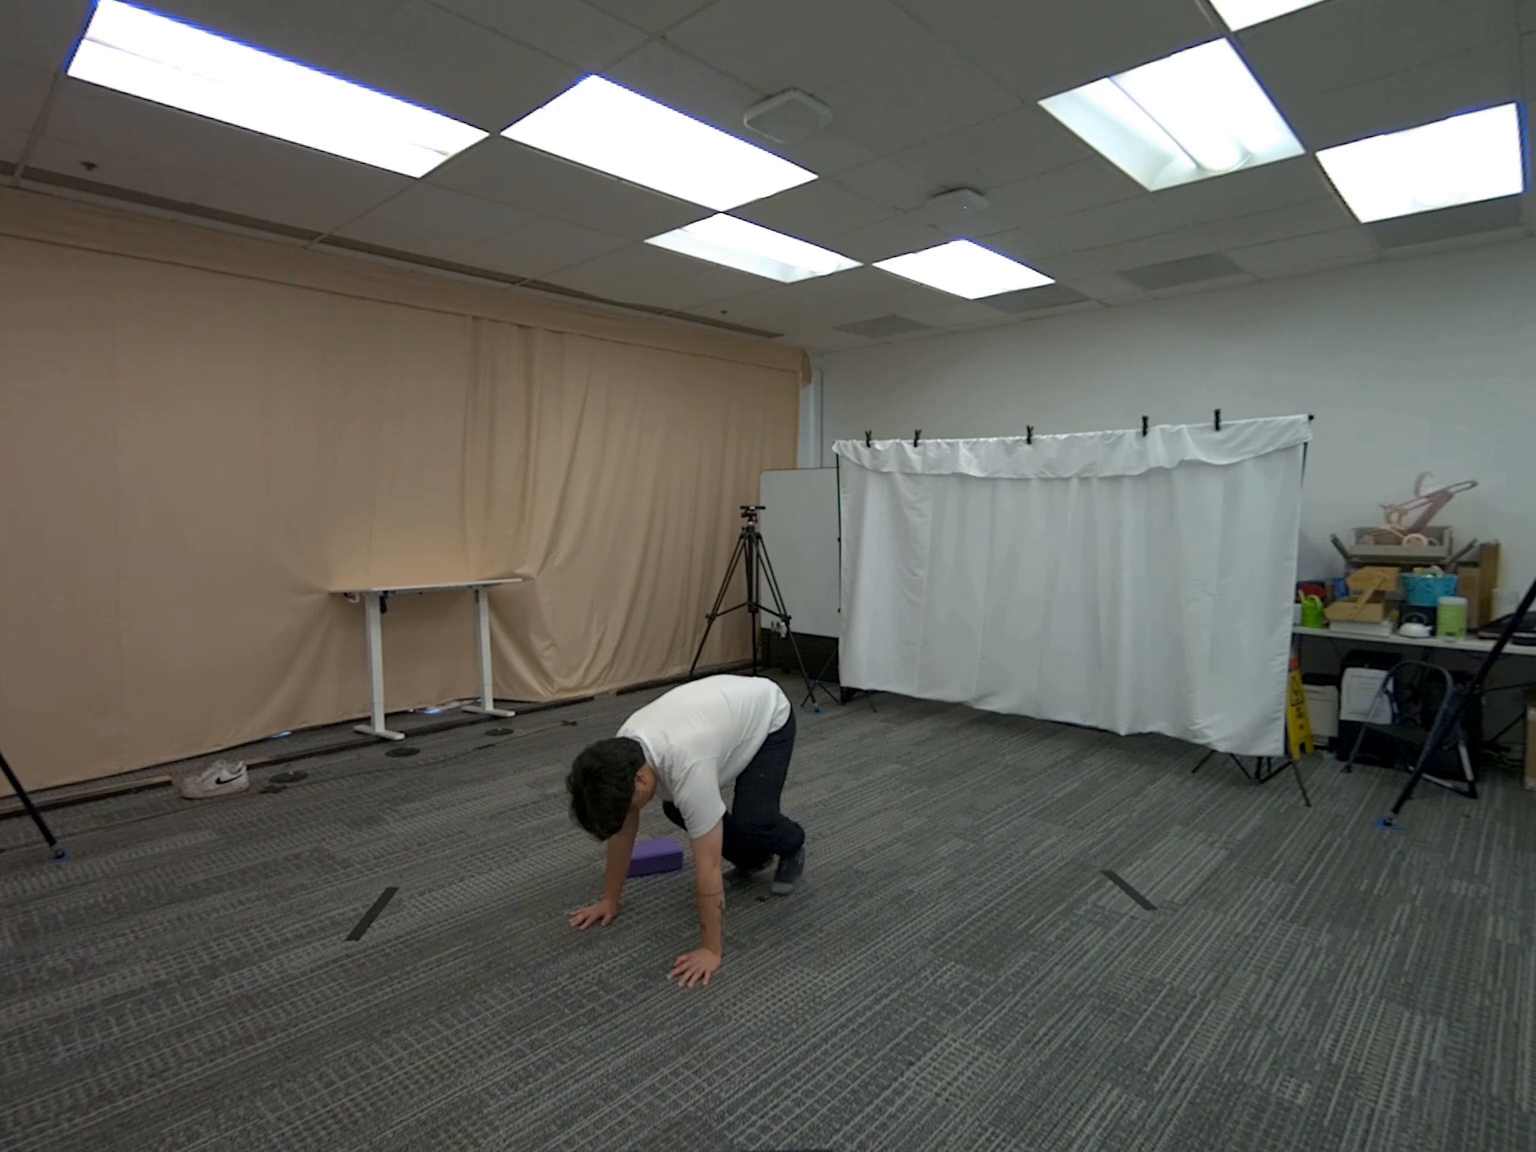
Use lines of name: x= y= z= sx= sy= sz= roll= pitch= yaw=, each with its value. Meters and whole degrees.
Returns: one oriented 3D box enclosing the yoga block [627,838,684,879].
yoga block: x=-0.456 y=1.086 z=3.256 sx=0.225 sy=0.076 sz=0.152 roll=-2 pitch=5 yaw=-20
